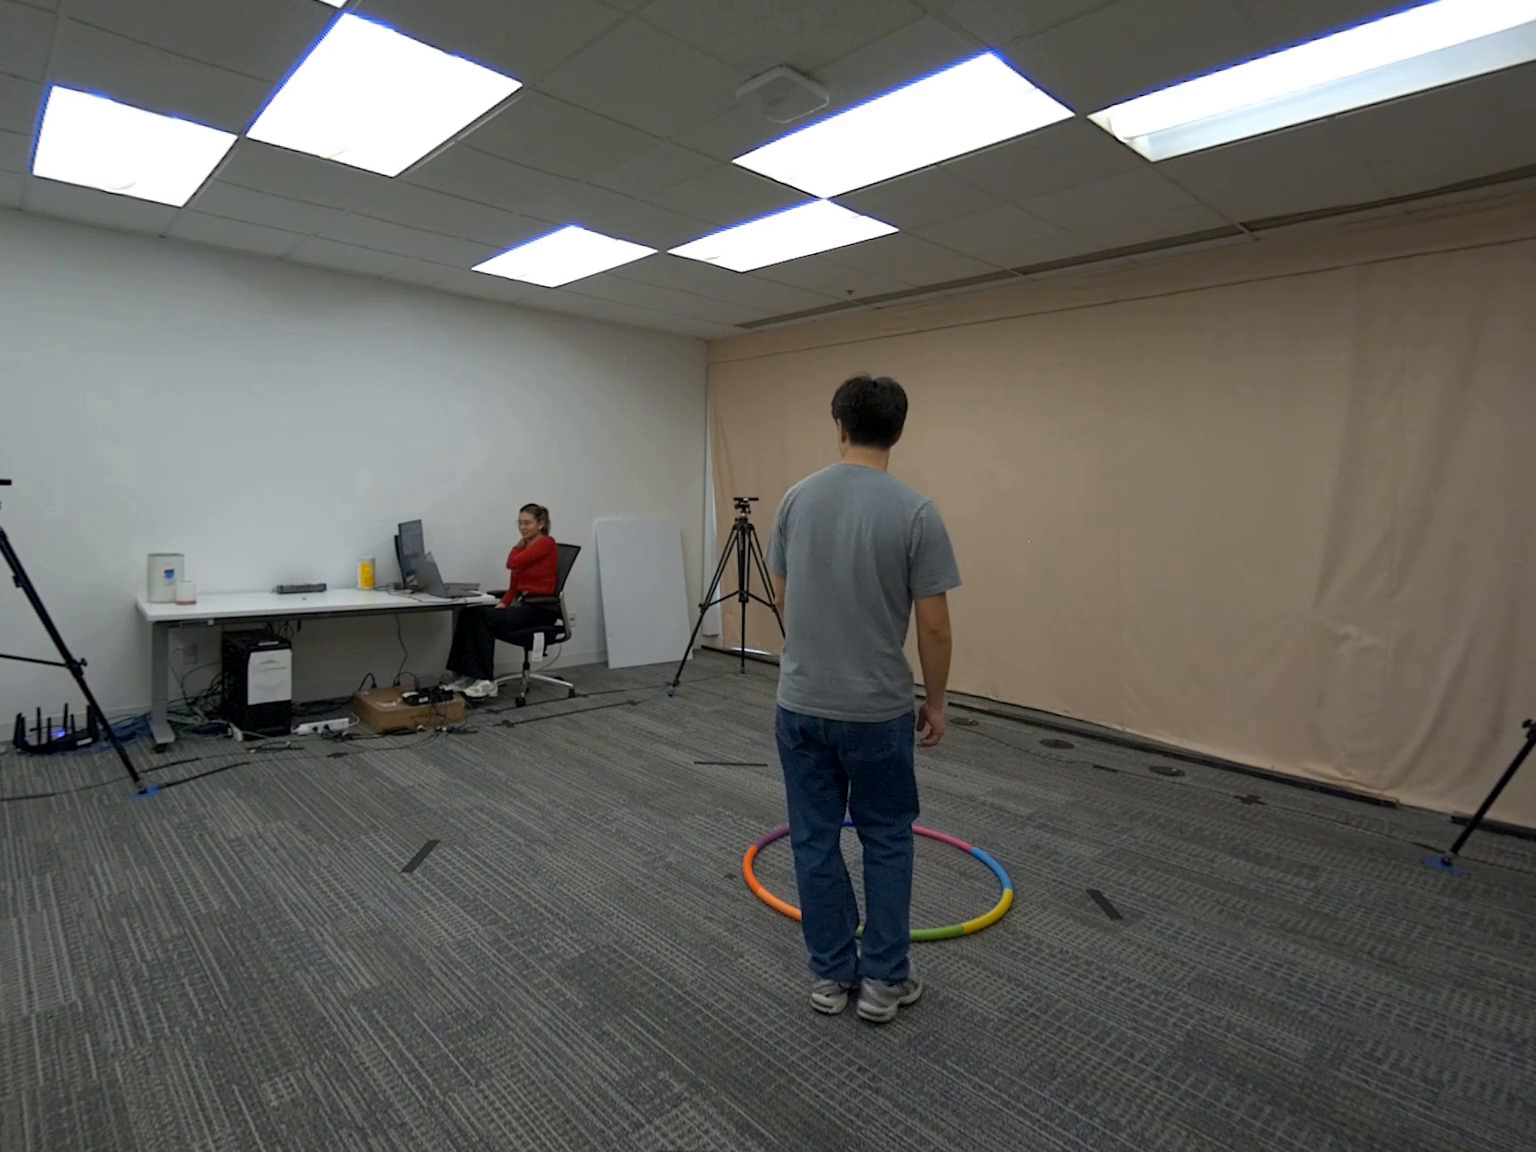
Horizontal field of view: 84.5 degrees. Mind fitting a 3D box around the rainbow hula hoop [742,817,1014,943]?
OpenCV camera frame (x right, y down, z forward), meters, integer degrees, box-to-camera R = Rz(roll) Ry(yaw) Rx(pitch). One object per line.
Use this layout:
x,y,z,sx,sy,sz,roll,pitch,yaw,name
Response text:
0.377,1.082,3.153,0.978,0.035,0.982,1,5,-1,rainbow hula hoop
